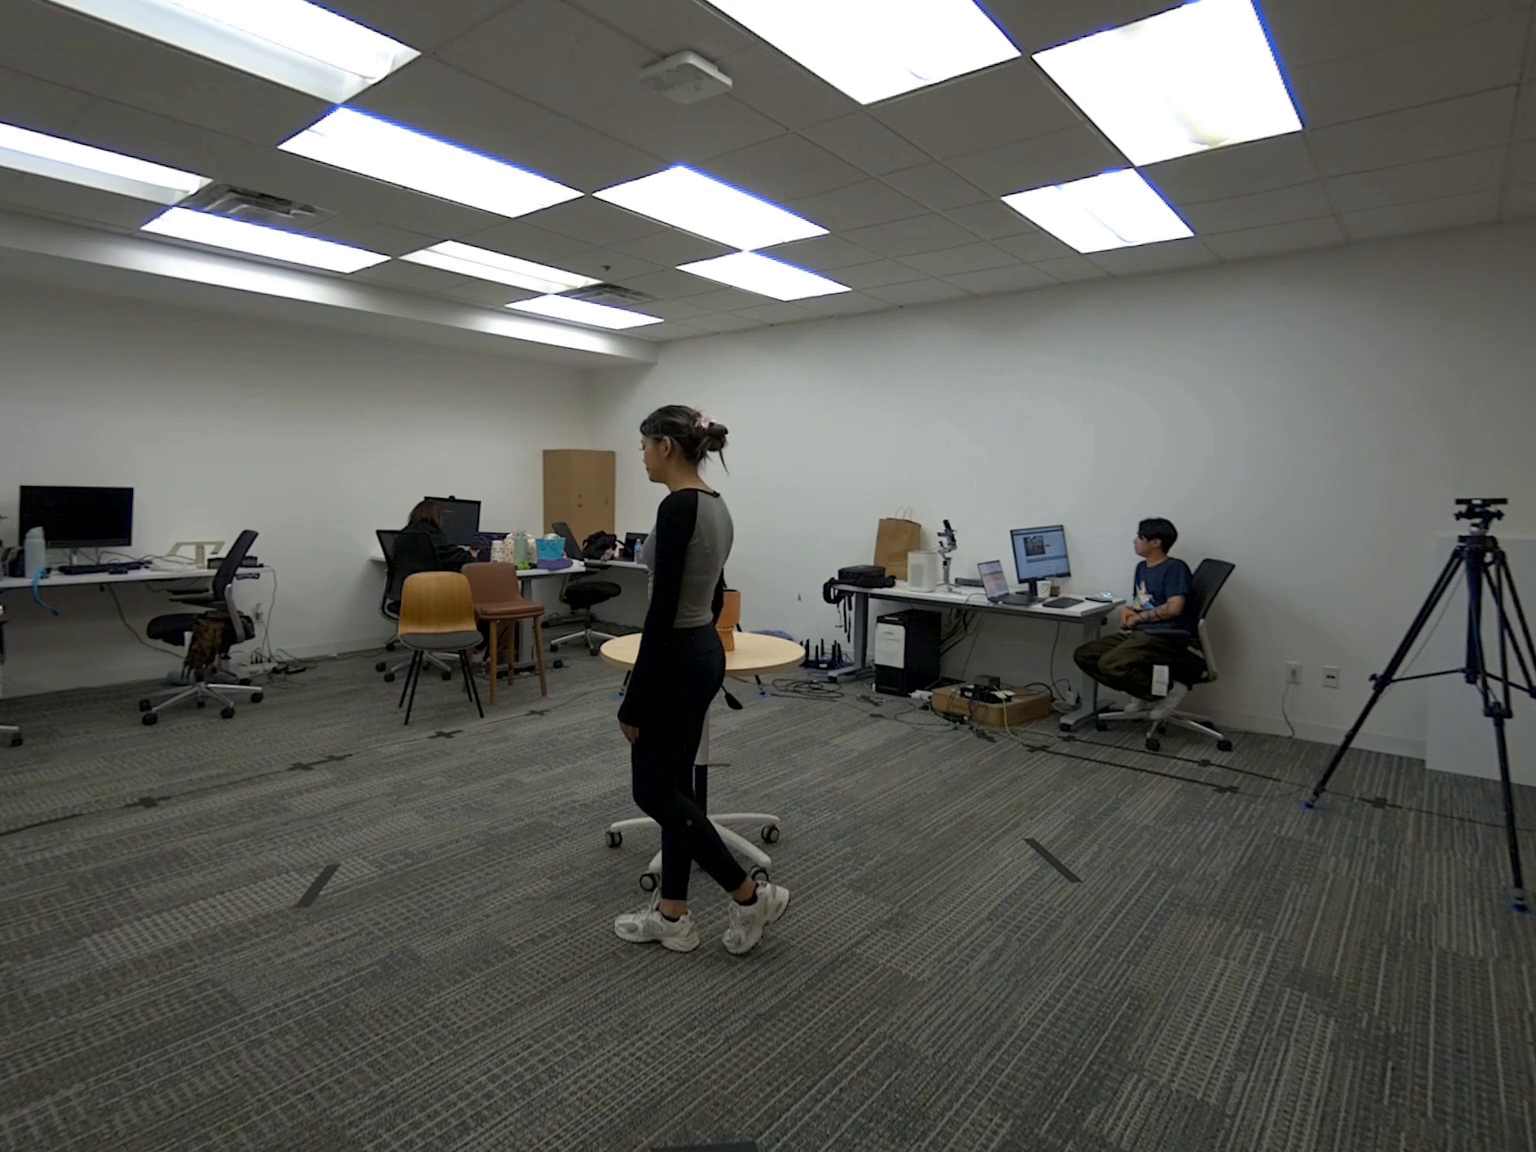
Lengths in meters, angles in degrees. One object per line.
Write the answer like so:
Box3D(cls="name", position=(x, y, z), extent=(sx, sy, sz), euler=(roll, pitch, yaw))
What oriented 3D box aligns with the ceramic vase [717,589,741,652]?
Box3D(cls="ceramic vase", position=(-0.179, 0.162, 3.170), extent=(0.154, 0.219, 0.139), euler=(-2, 5, -36))
